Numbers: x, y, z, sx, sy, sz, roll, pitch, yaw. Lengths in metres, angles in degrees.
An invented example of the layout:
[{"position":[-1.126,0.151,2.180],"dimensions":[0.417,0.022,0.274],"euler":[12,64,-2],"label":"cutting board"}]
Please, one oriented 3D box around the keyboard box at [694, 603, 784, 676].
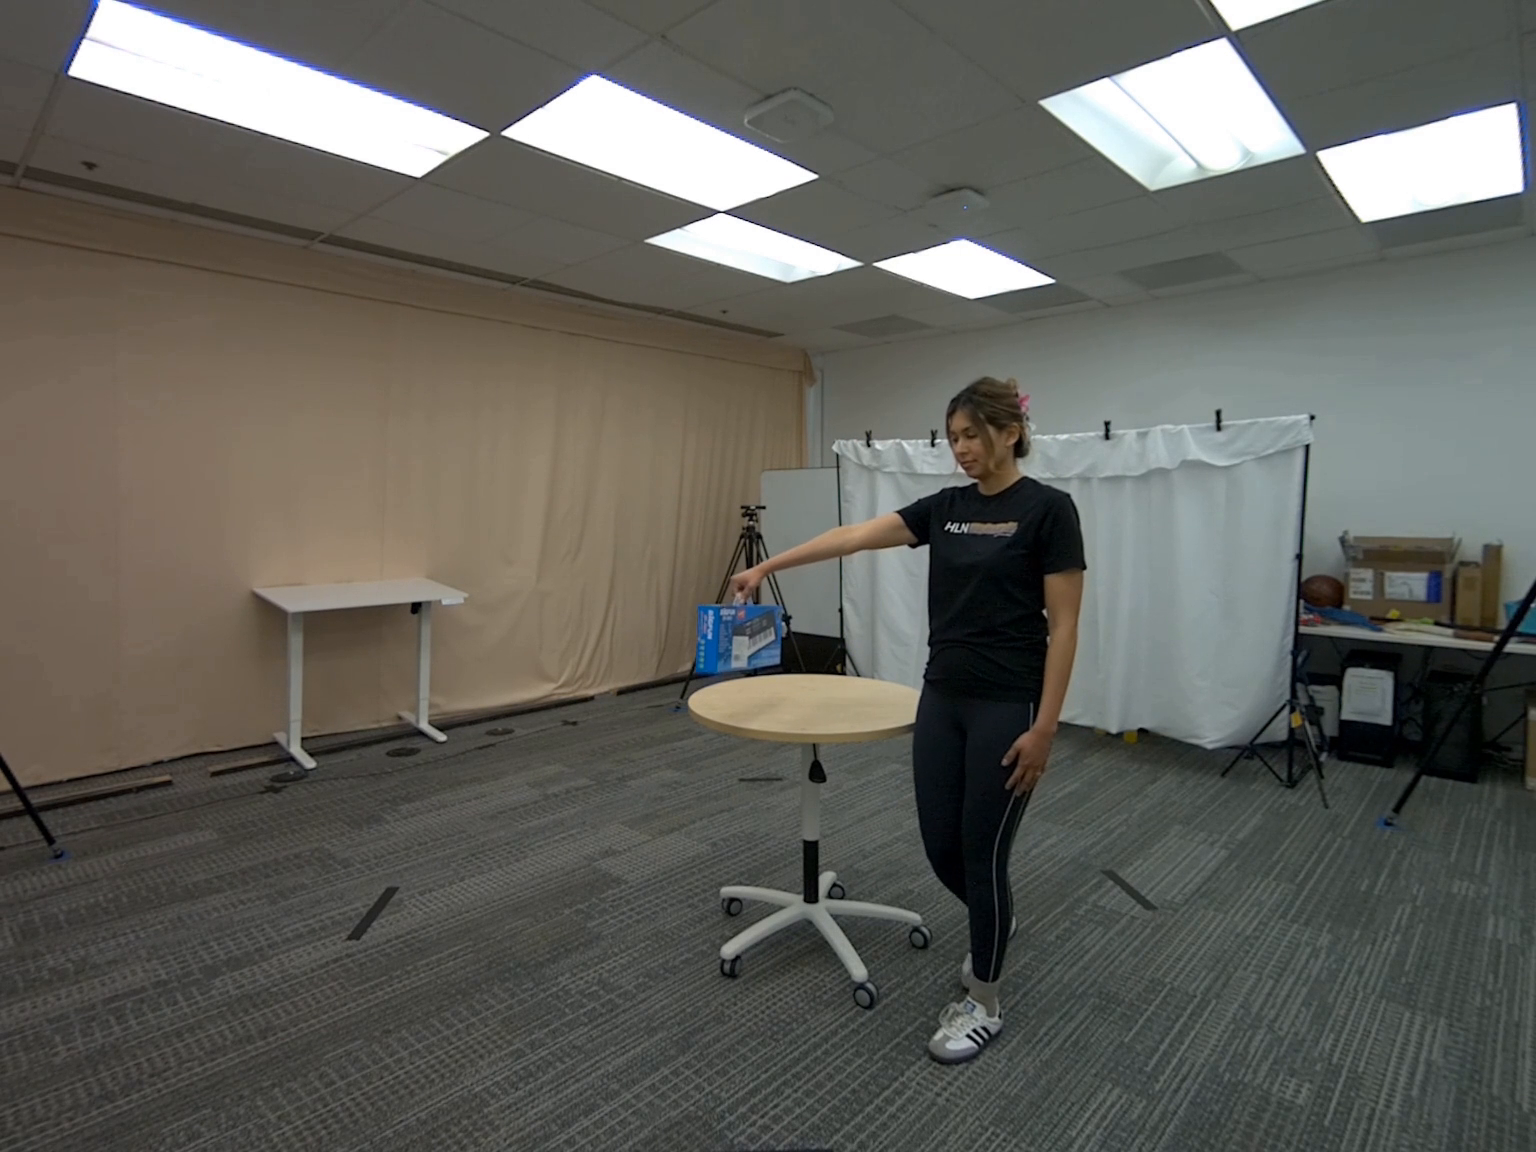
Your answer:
[{"position":[-0.067,0.170,2.295],"dimensions":[0.060,0.176,0.425],"euler":[2,-1,24],"label":"keyboard box"}]
